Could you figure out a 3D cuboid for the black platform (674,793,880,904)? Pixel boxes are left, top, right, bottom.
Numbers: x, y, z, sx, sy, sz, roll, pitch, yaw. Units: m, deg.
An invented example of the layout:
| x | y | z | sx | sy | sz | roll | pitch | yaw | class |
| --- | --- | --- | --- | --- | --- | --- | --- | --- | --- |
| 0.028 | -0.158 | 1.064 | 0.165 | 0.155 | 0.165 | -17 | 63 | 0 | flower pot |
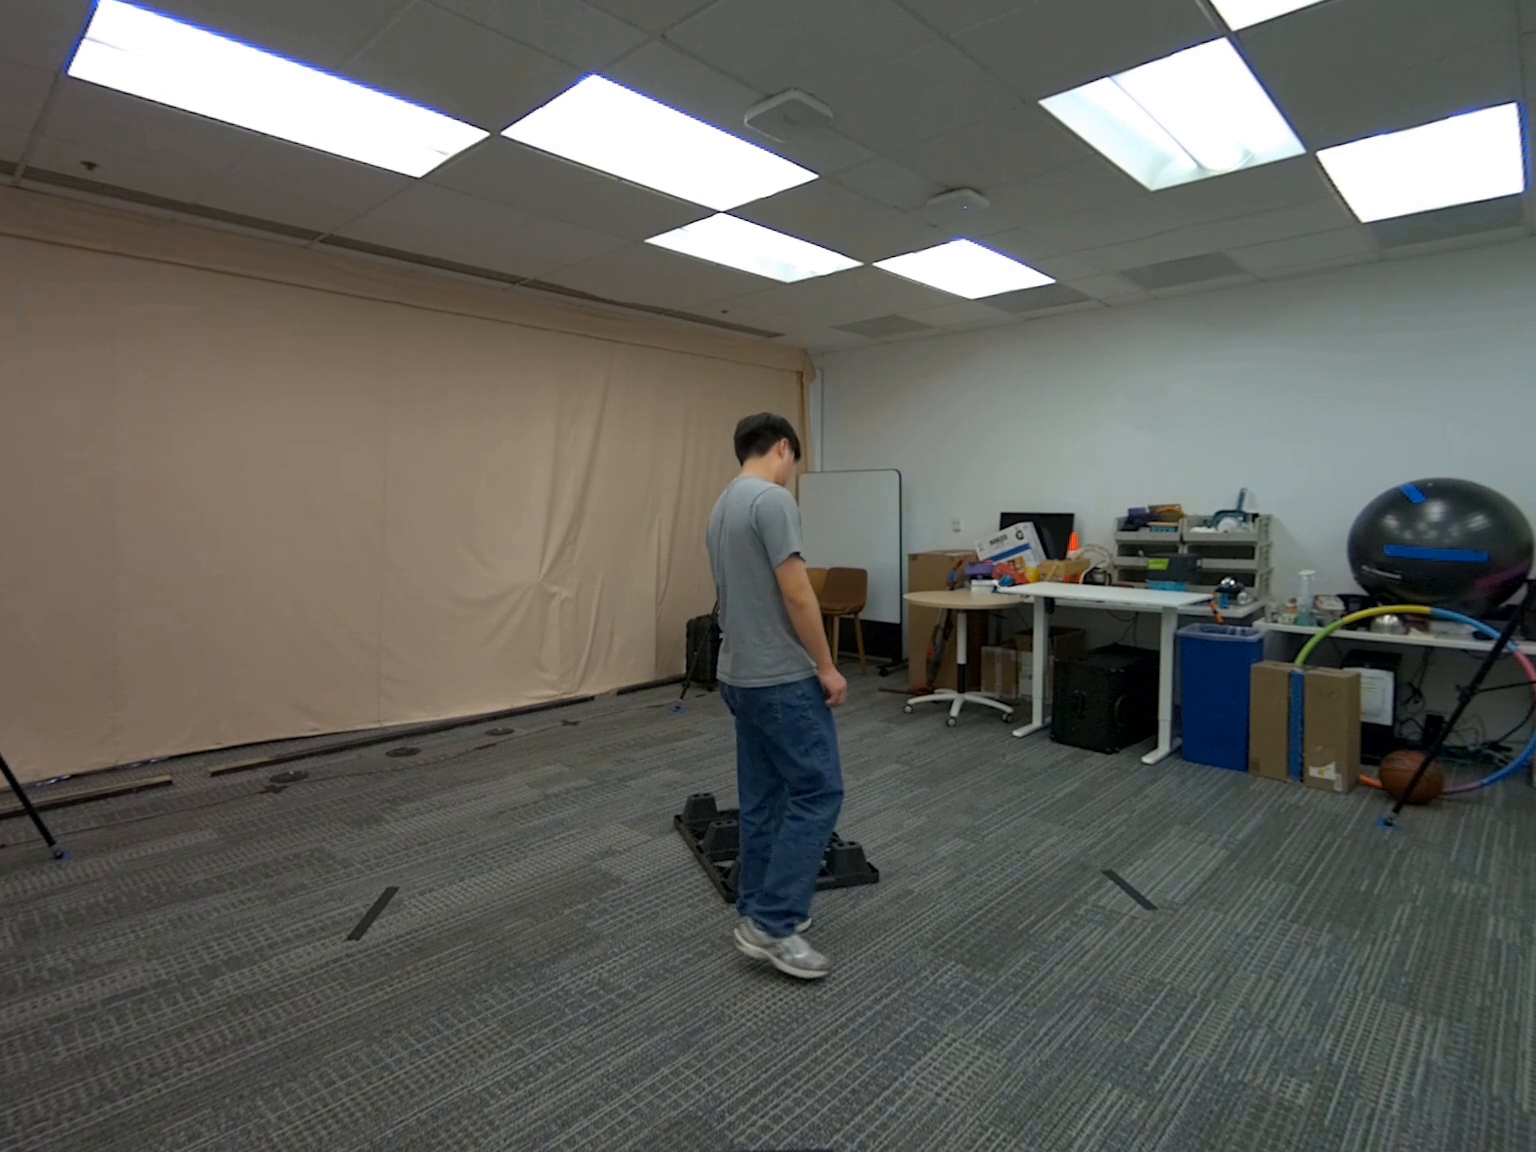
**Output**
| x | y | z | sx | sy | sz | roll | pitch | yaw | class |
| --- | --- | --- | --- | --- | --- | --- | --- | --- | --- |
| -0.003 | 1.039 | 3.397 | 0.594 | 0.143 | 0.823 | -2 | 5 | -20 | black platform |
